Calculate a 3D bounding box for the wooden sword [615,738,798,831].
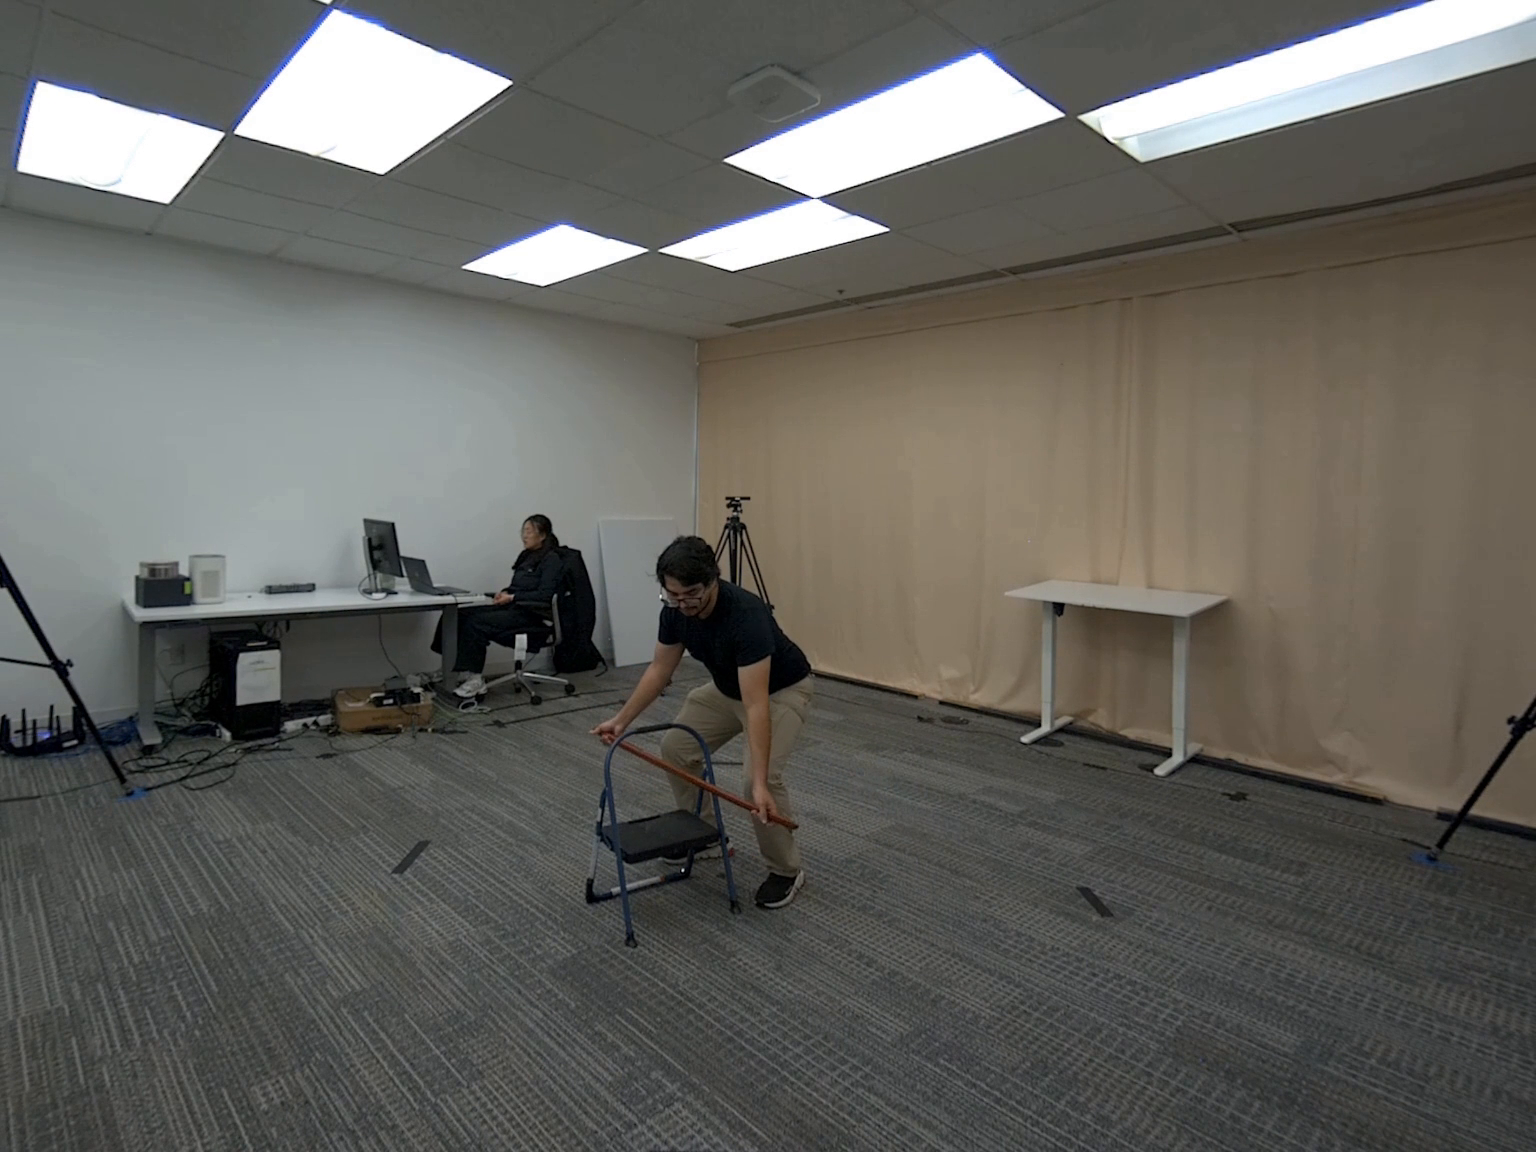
[{"bbox_3d":[-0.295,0.677,2.843,1.053,0.024,0.050,11,19,43],"label":"wooden sword"}]
